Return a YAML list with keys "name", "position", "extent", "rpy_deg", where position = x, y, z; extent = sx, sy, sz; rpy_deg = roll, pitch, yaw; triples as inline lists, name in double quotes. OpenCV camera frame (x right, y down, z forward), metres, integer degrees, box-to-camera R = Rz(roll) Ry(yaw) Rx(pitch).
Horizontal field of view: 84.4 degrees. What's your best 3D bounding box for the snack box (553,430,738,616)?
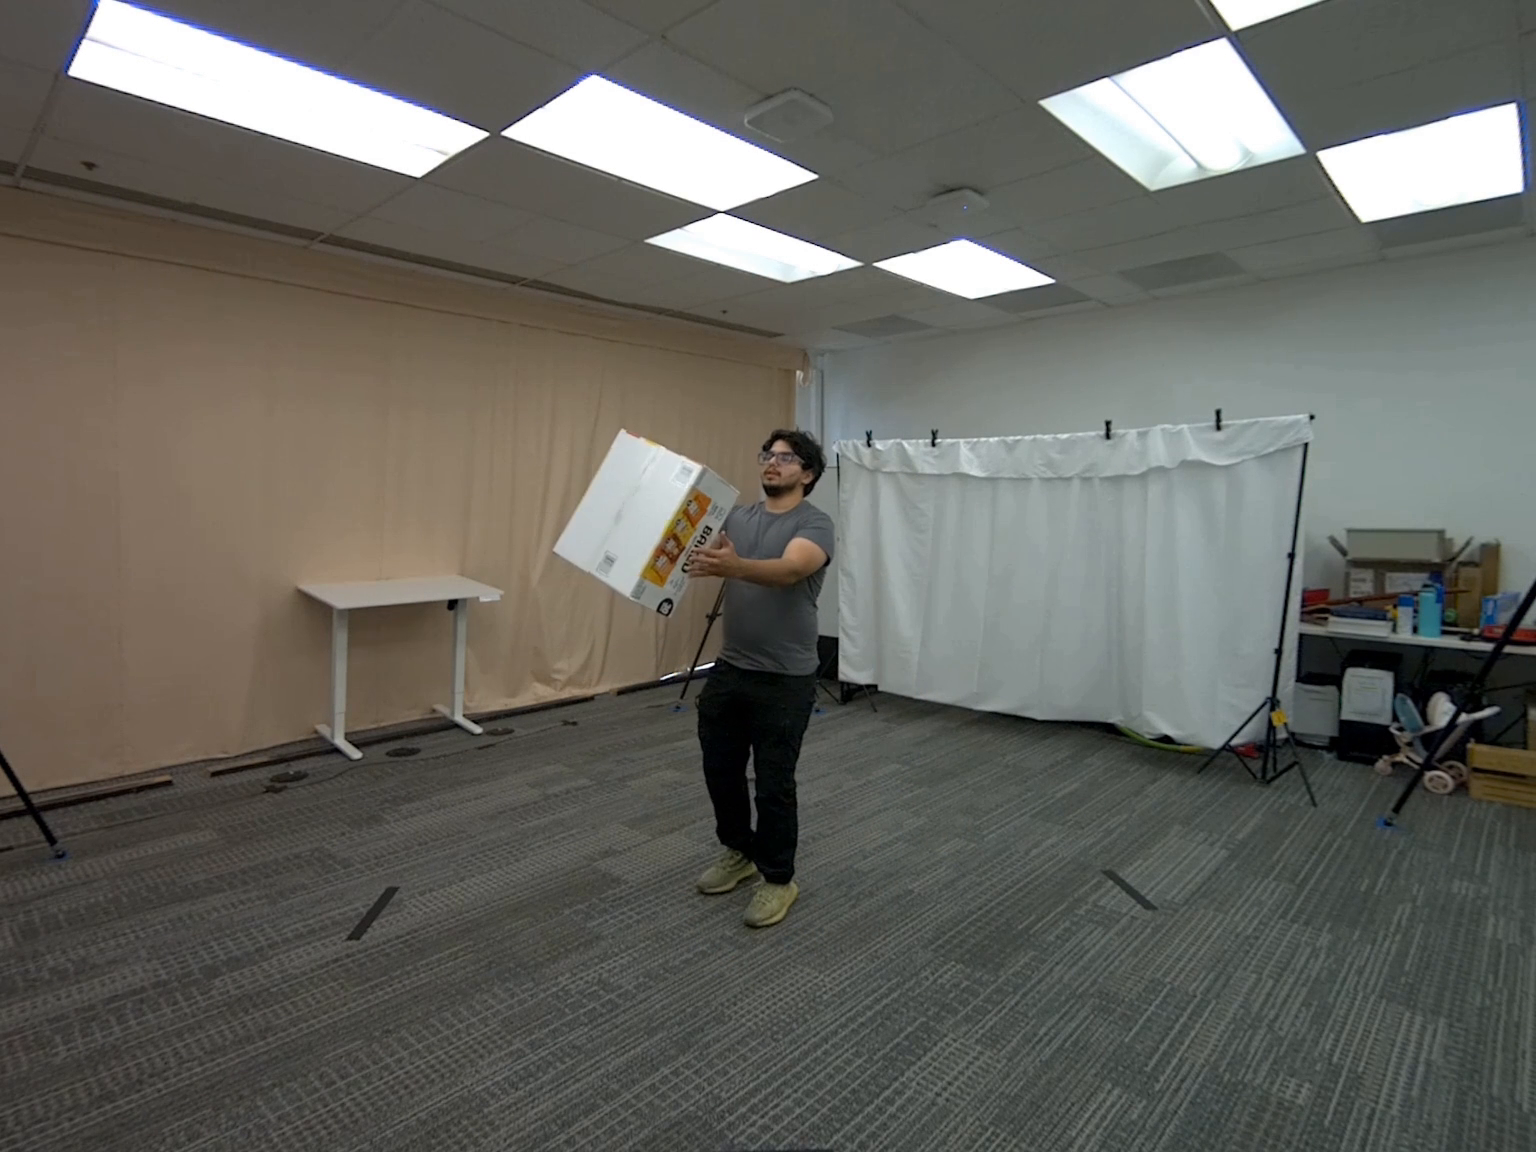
- name: "snack box"
  position: [-0.347, -0.152, 2.377]
  extent: [0.352, 0.405, 0.198]
  rpy_deg: [27, -3, 35]
